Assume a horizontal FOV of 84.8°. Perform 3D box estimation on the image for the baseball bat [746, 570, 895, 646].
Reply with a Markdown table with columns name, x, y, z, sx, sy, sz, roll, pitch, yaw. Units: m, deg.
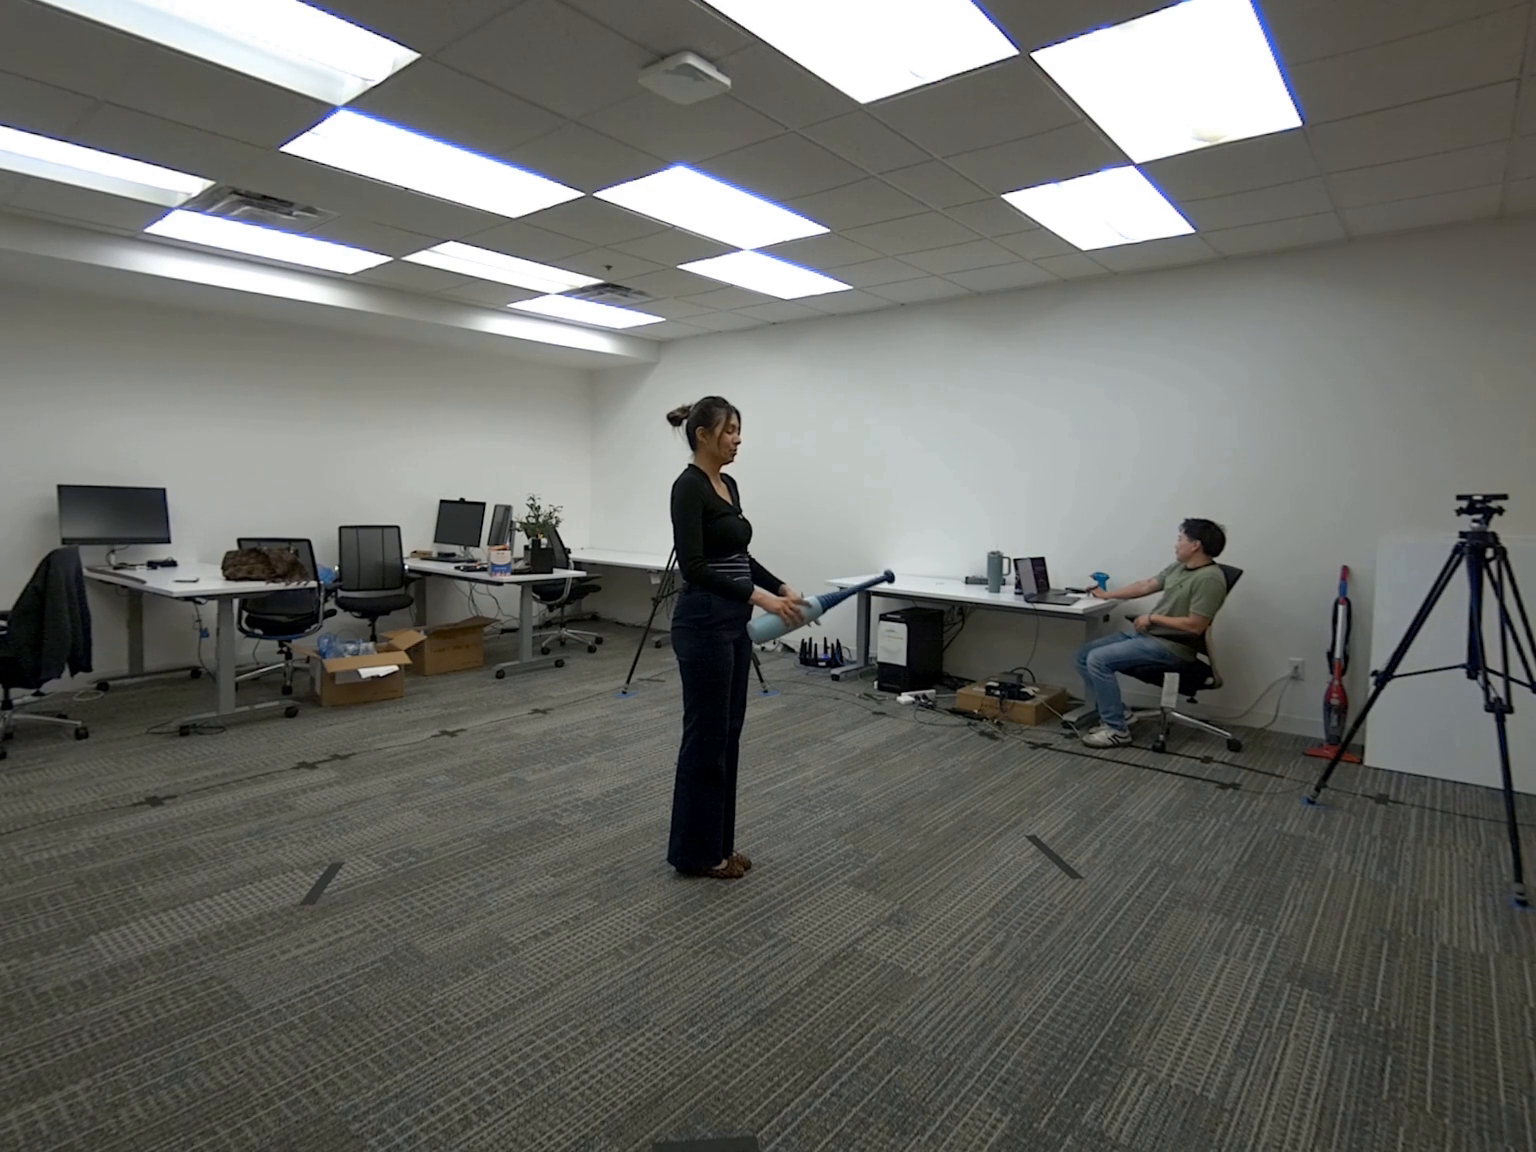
| name | x | y | z | sx | sy | sz | roll | pitch | yaw |
| --- | --- | --- | --- | --- | --- | --- | --- | --- | --- |
| baseball bat | 0.166 | 0.096 | 2.830 | 0.539 | 0.088 | 0.091 | -21 | 9 | -12 |
